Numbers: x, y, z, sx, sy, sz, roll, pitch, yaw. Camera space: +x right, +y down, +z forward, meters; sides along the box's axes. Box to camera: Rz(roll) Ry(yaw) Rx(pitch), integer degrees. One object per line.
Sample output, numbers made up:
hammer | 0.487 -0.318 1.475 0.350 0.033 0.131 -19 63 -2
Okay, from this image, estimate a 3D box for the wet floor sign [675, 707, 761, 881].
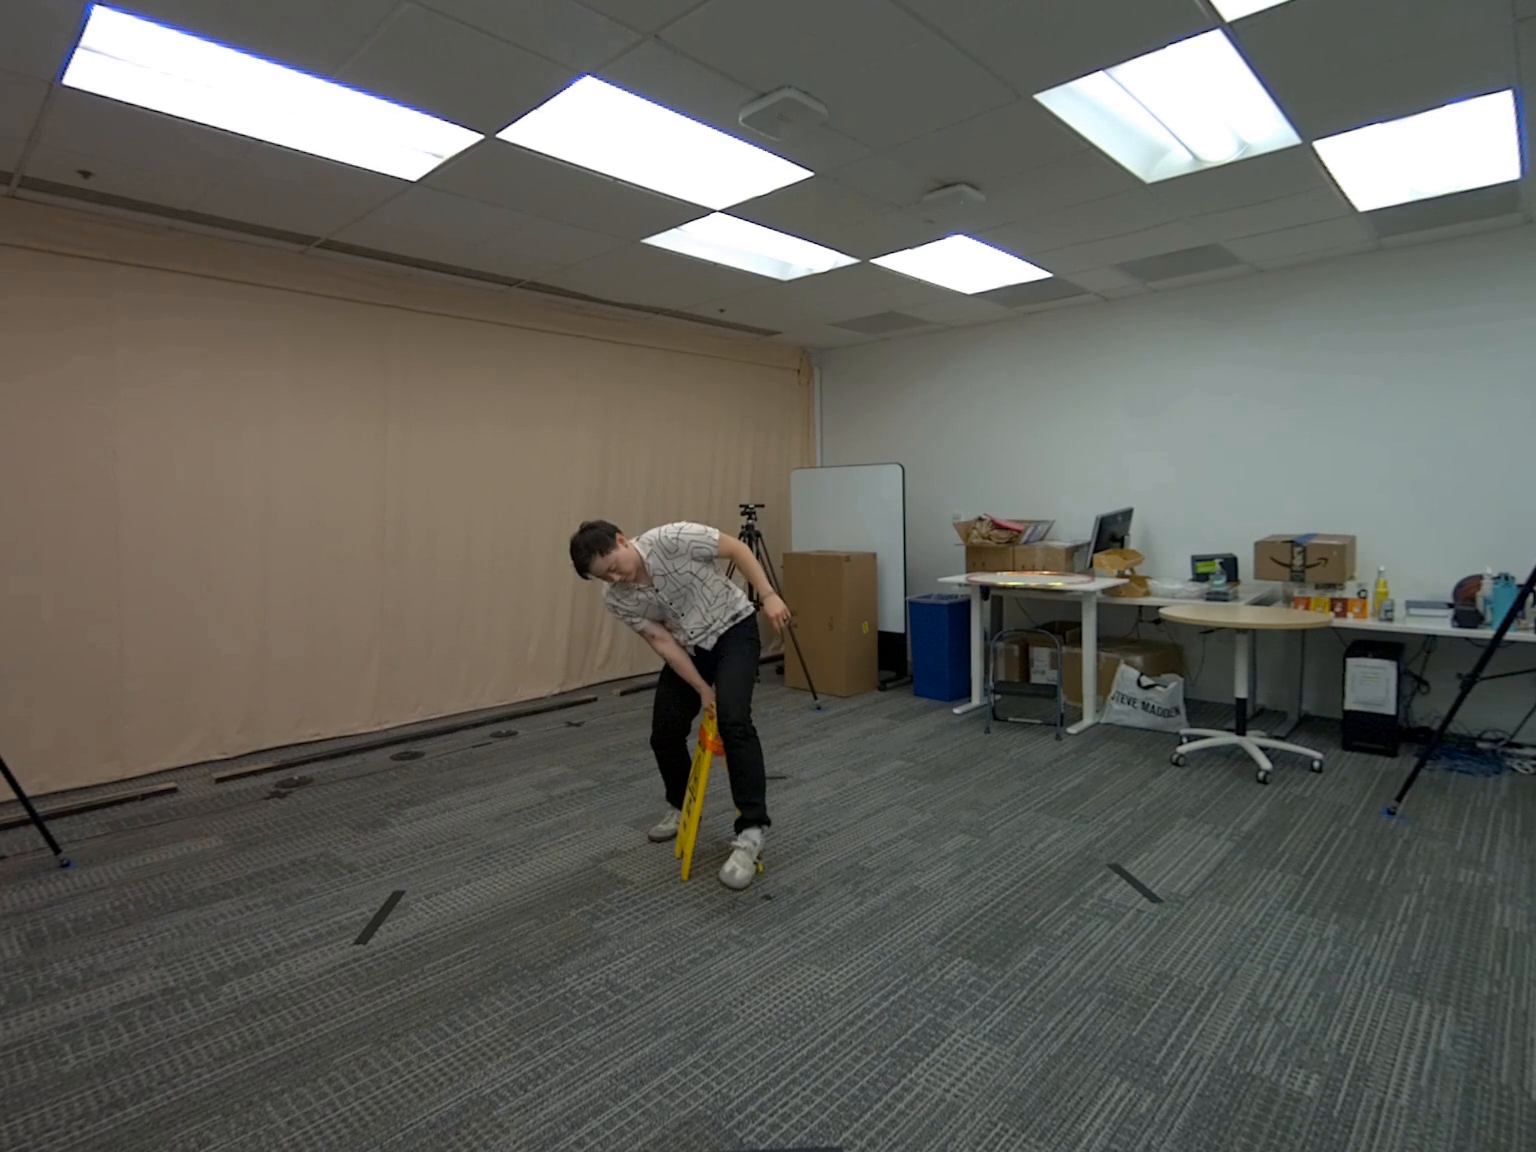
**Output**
wet floor sign | -0.203 0.793 3.266 0.286 0.645 0.286 -2 3 -12
